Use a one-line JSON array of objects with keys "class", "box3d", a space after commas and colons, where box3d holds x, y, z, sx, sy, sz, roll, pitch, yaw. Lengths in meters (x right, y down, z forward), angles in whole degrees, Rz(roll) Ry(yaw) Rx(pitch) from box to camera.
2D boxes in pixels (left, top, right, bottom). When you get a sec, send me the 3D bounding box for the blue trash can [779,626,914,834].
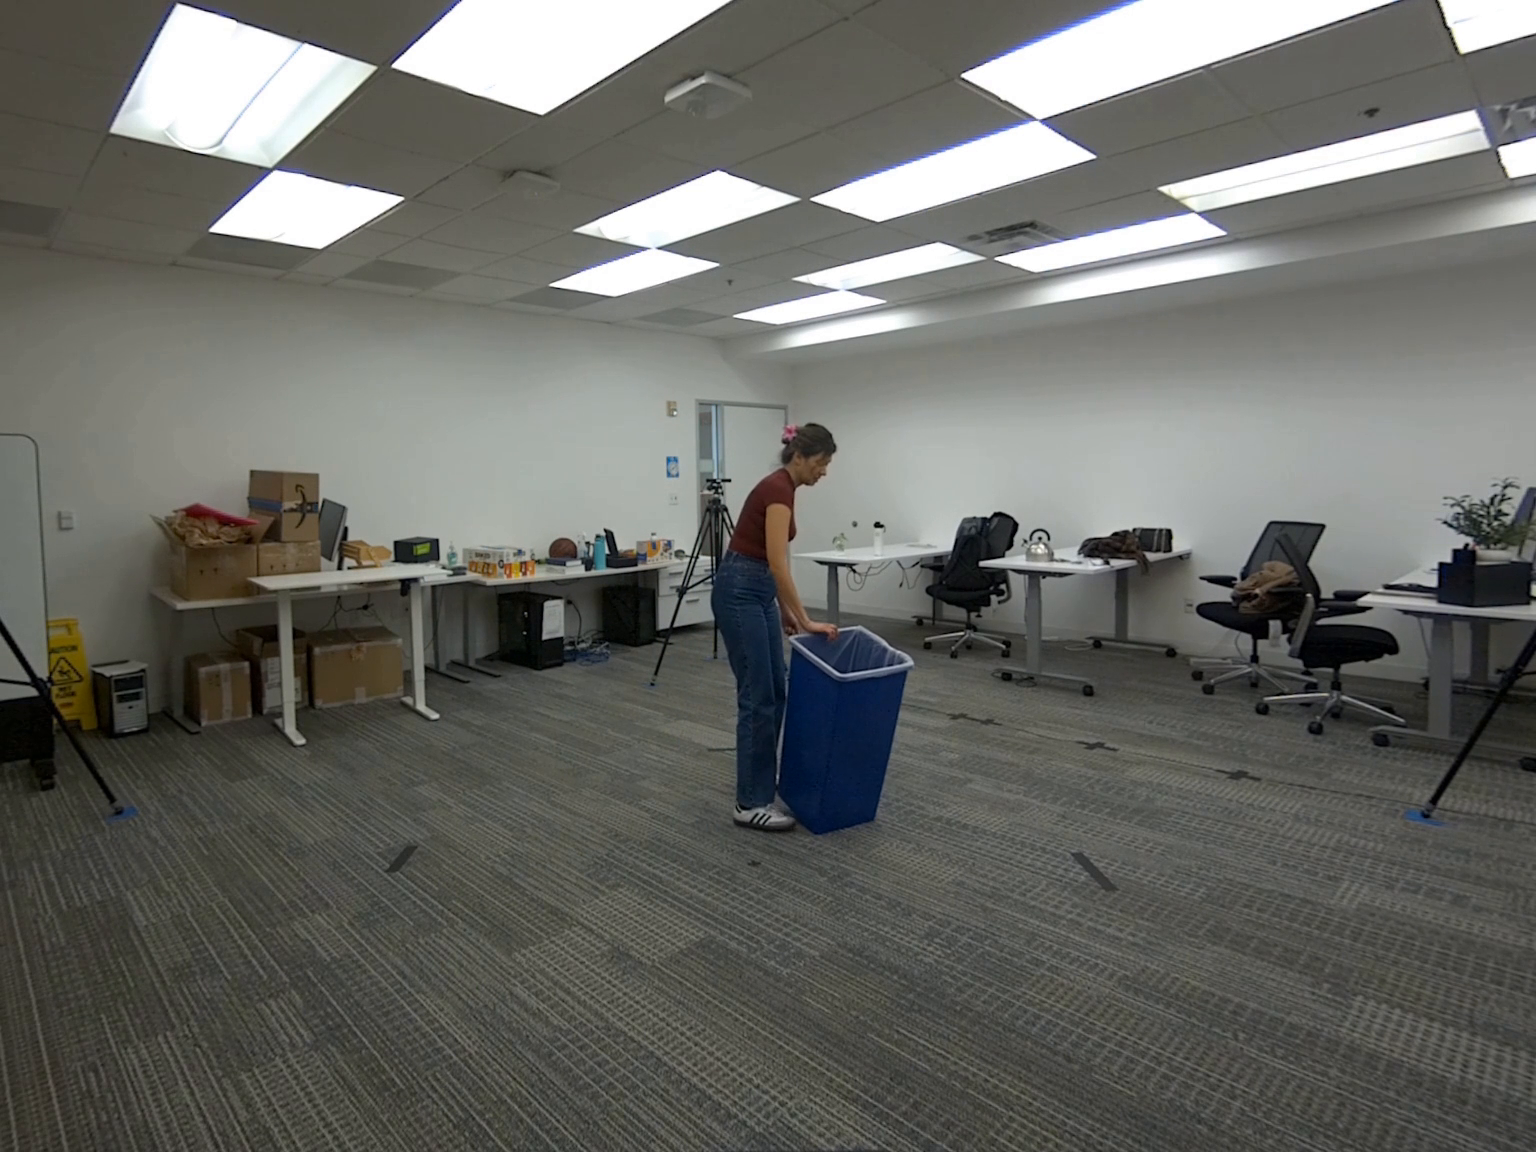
[{"class": "blue trash can", "box3d": [0.282, 0.620, 3.425, 0.365, 0.704, 0.392, -3, 19, -31]}]
